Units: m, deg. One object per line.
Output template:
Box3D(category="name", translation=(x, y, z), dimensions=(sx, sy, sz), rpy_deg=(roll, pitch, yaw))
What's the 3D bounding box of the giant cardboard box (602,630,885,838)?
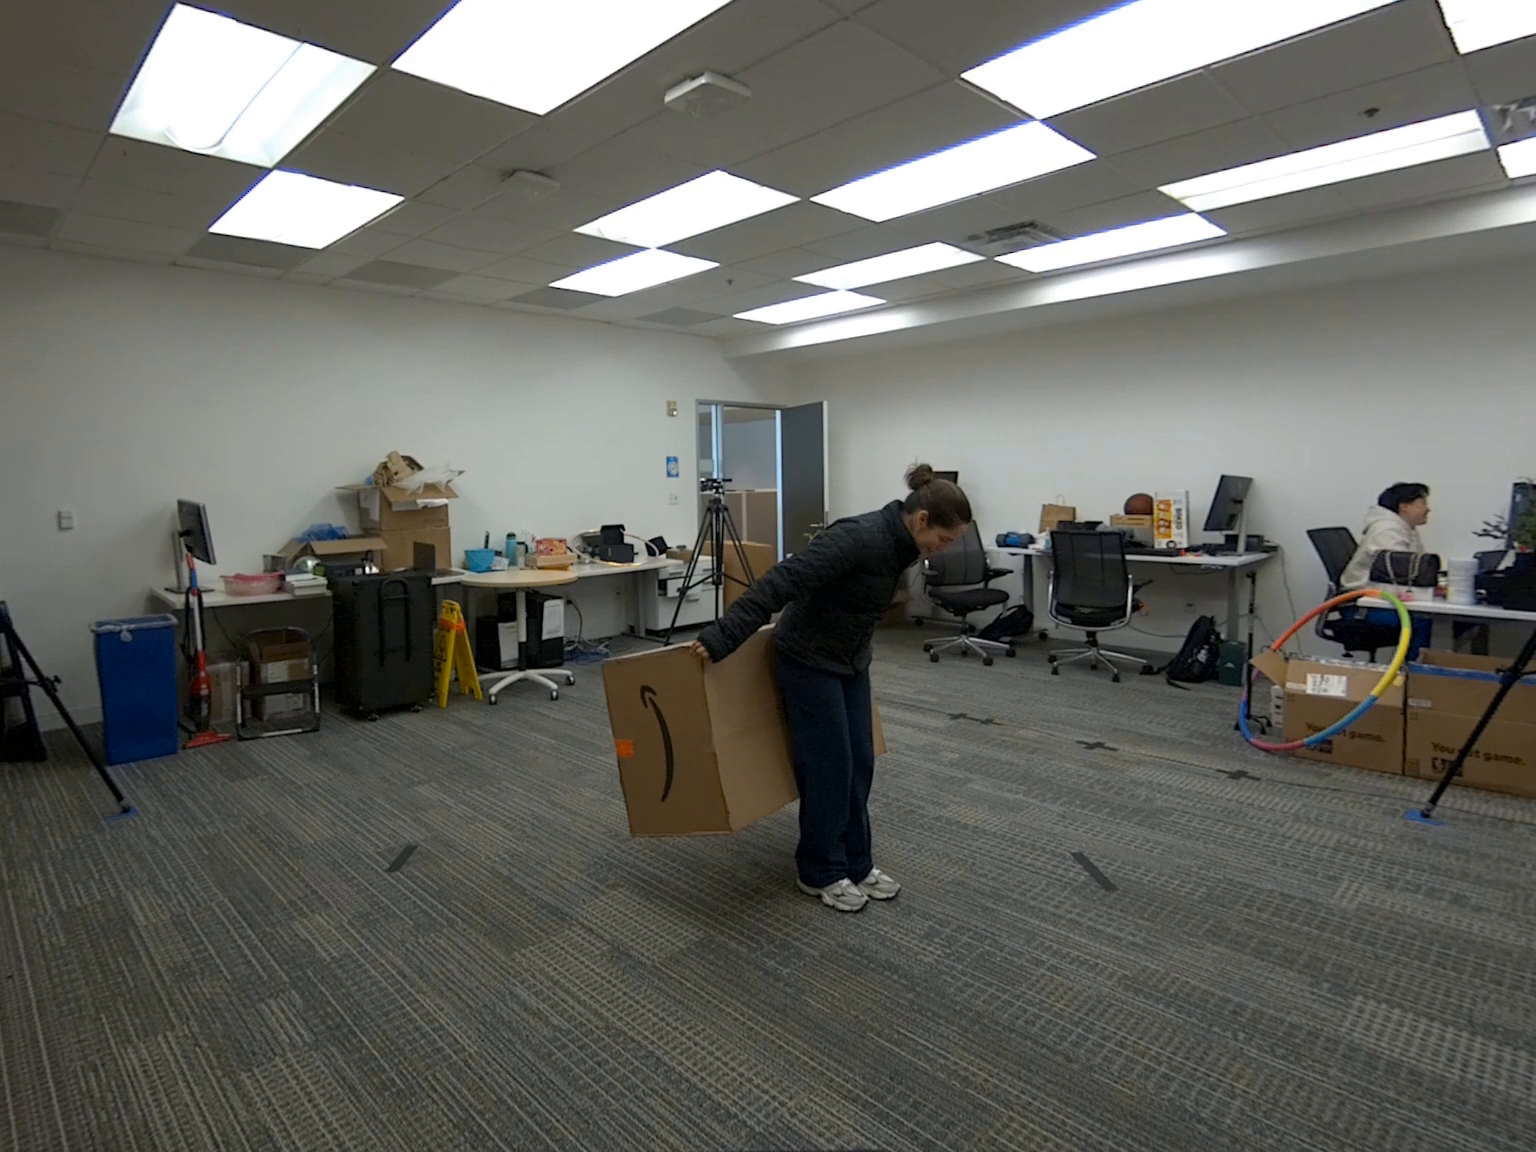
Box3D(category="giant cardboard box", translation=(-0.059, 0.489, 3.098), dimensions=(0.435, 0.581, 1.000), rpy_deg=(-14, -4, 34))
